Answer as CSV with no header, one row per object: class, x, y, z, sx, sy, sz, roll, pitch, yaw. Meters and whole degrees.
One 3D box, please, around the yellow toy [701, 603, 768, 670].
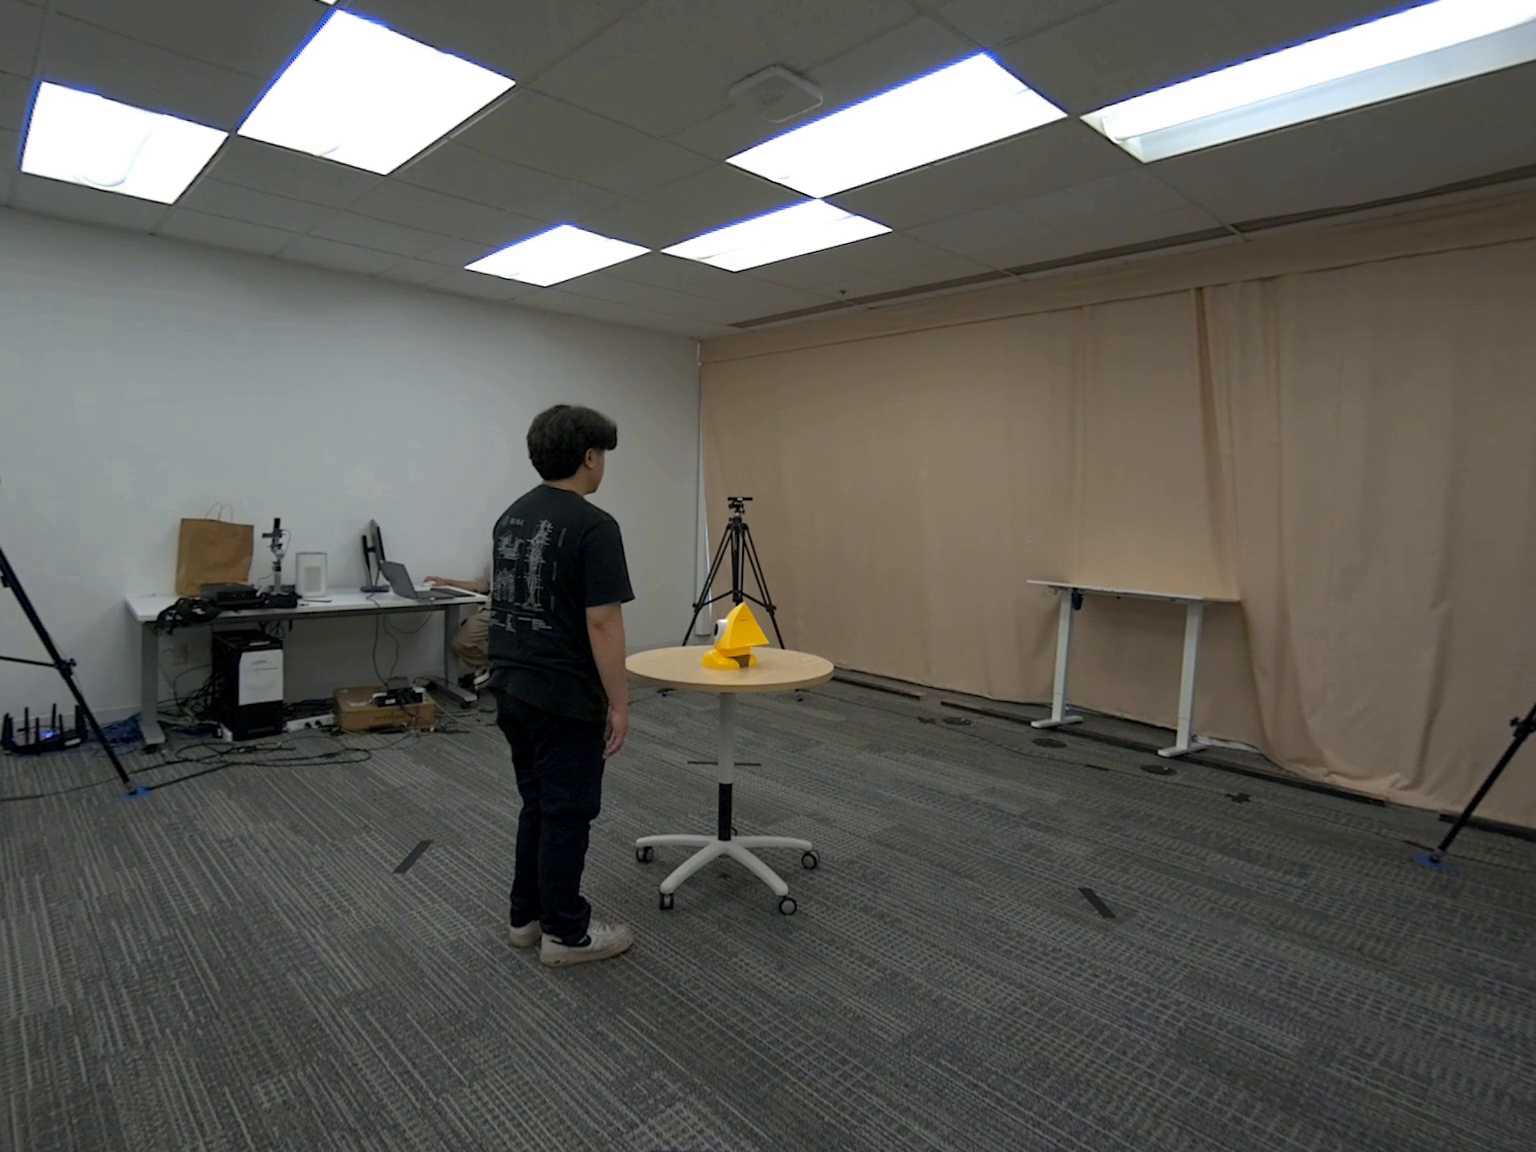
yellow toy,-0.143,0.207,3.031,0.198,0.230,0.200,4,5,45
